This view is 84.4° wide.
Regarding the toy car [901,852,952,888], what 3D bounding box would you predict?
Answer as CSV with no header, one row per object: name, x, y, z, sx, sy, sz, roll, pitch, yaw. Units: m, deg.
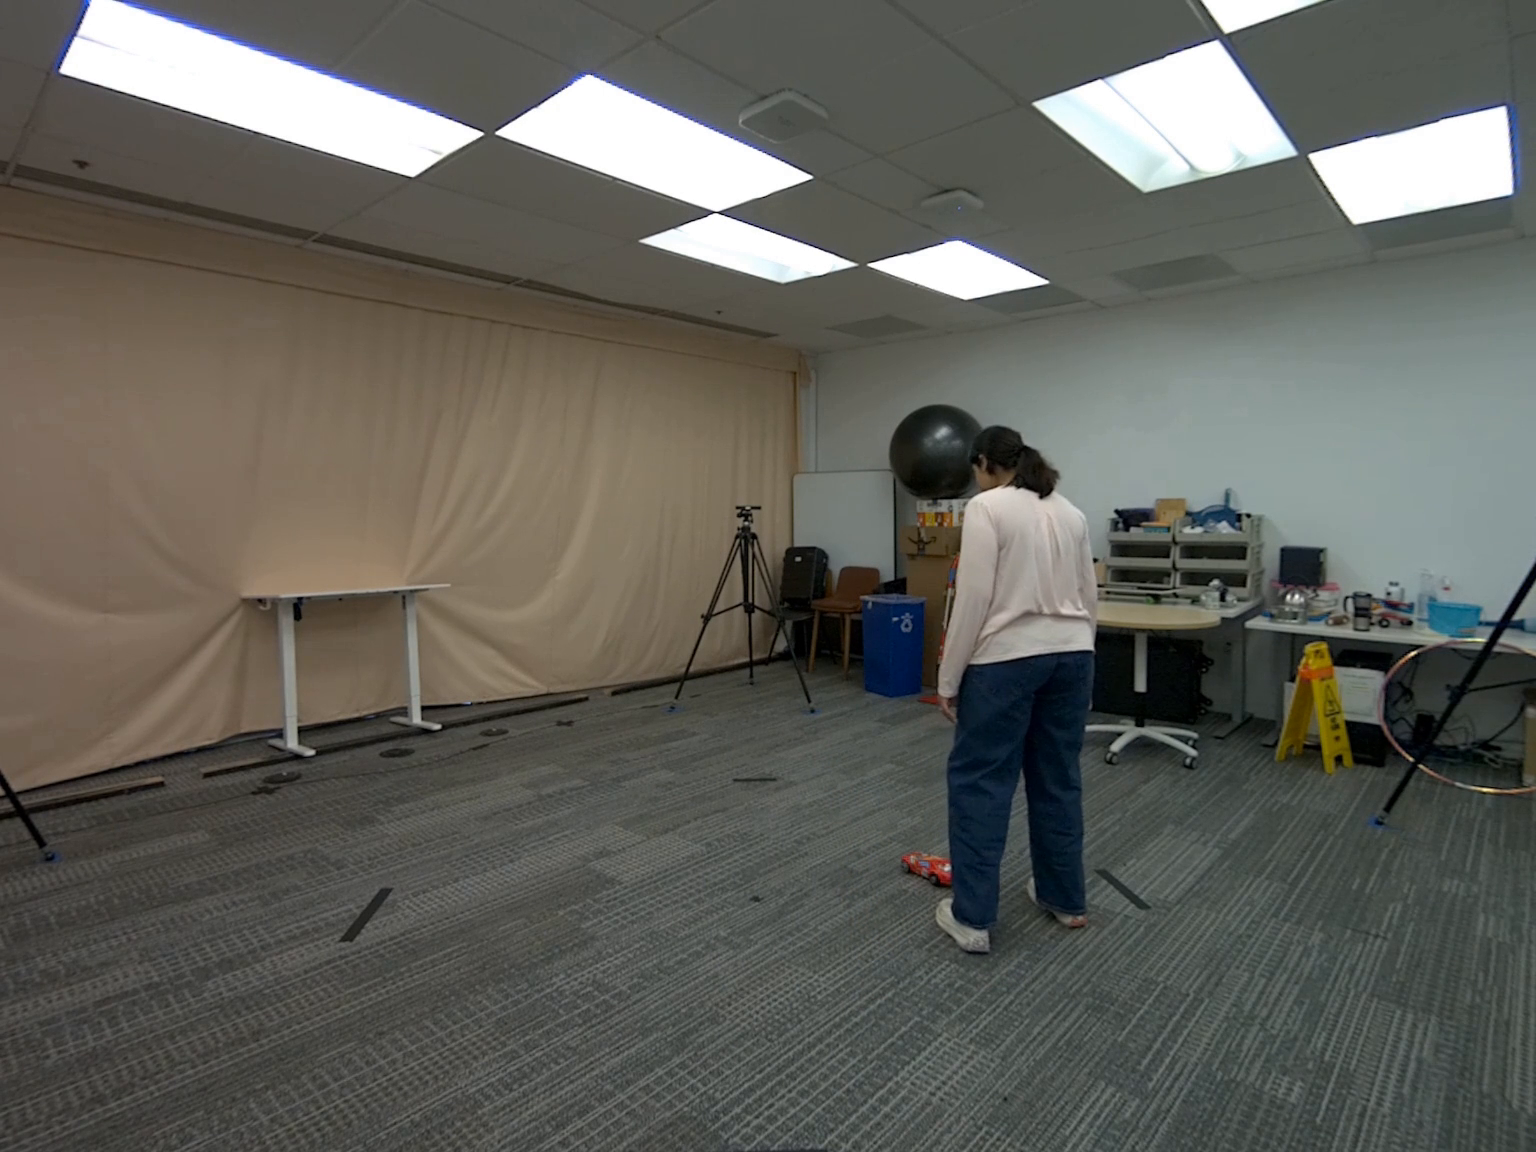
toy car,0.627,1.098,3.147,0.126,0.083,0.261,-2,-6,-35
